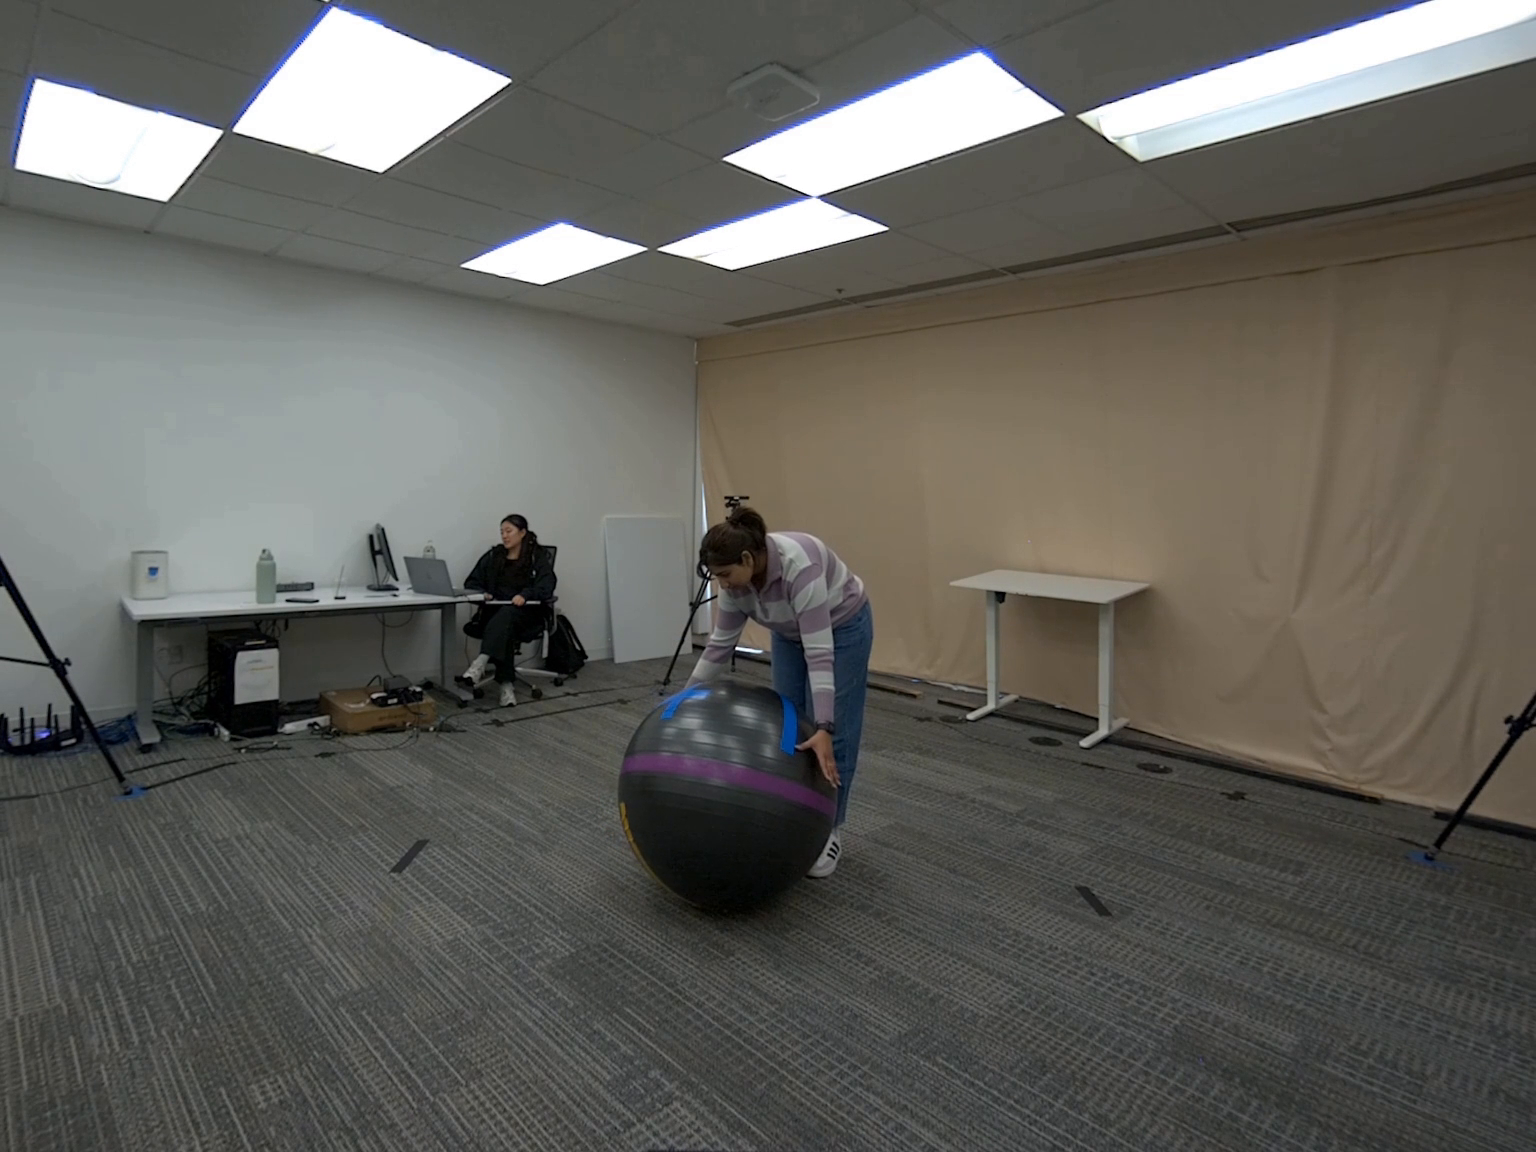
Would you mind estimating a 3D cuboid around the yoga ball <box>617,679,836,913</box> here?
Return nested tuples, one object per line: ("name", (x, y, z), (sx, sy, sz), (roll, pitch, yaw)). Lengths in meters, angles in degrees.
("yoga ball", (-0.149, 0.756, 2.938), (0.757, 0.756, 0.761), (1, 4, -1))
